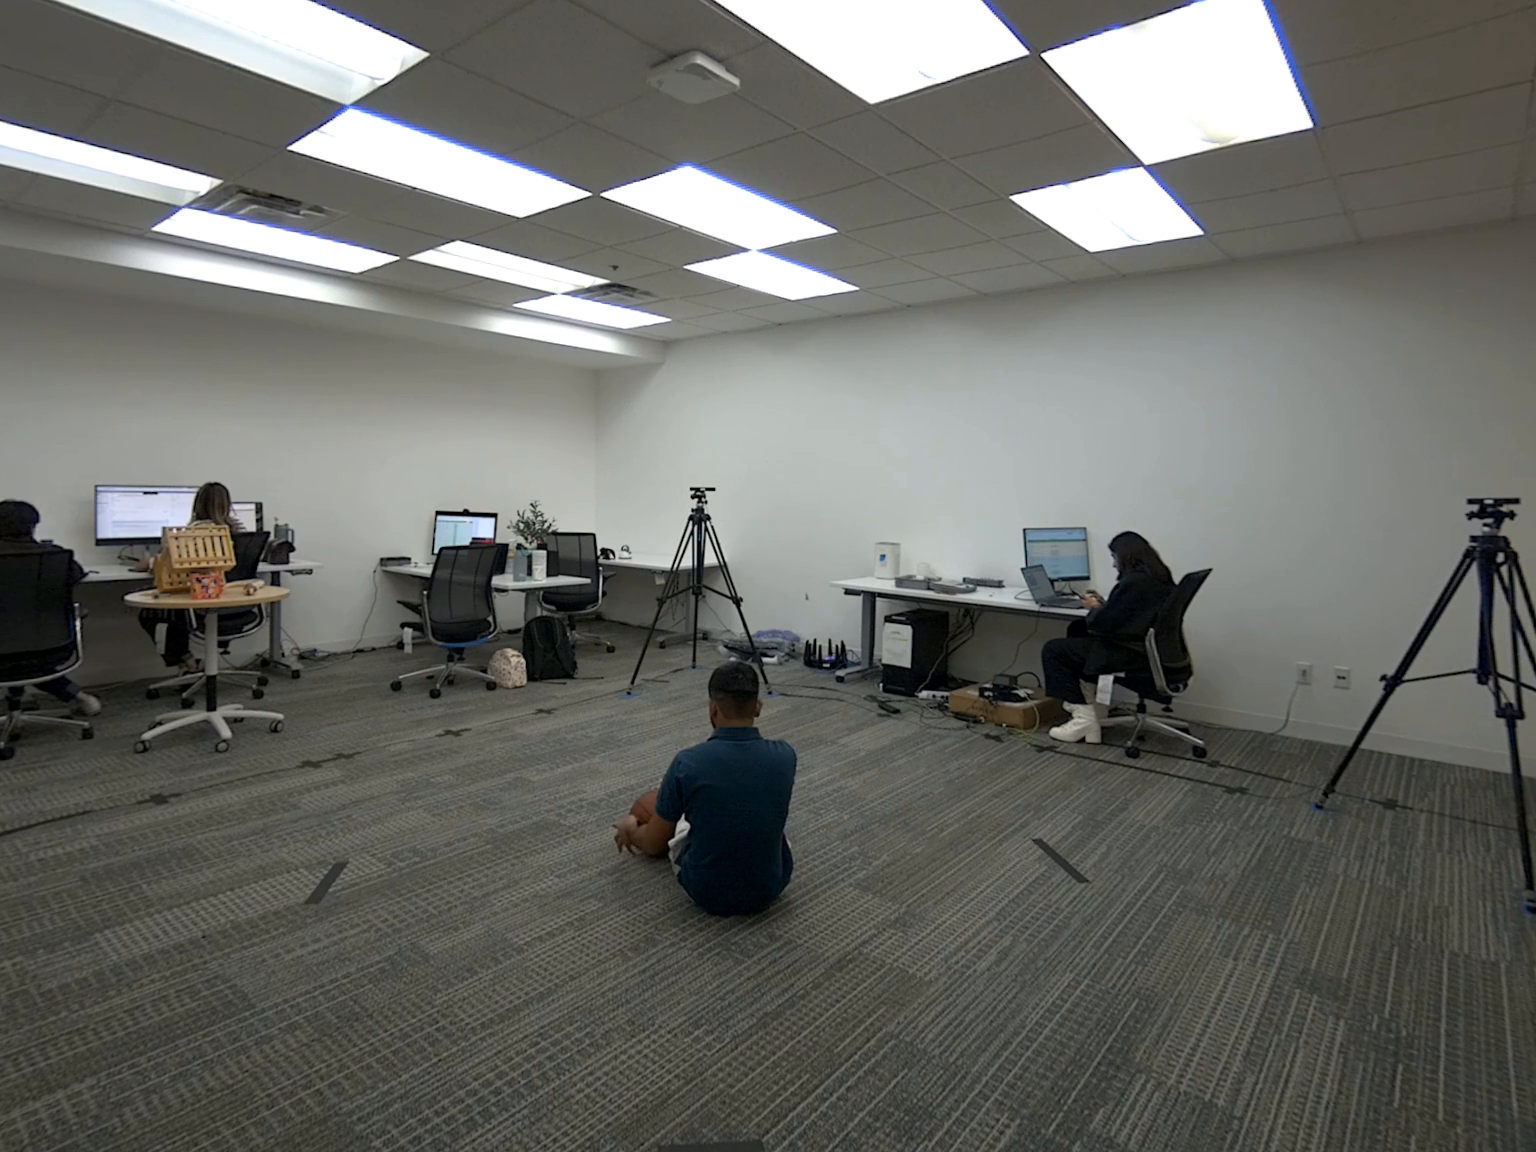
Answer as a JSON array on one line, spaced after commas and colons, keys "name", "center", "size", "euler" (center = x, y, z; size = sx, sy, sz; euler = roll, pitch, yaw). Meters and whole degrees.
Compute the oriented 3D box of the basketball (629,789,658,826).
[{"name": "basketball", "center": [-0.414, 0.925, 3.235], "size": [0.235, 0.235, 0.237], "euler": [1, 4, -2]}]
